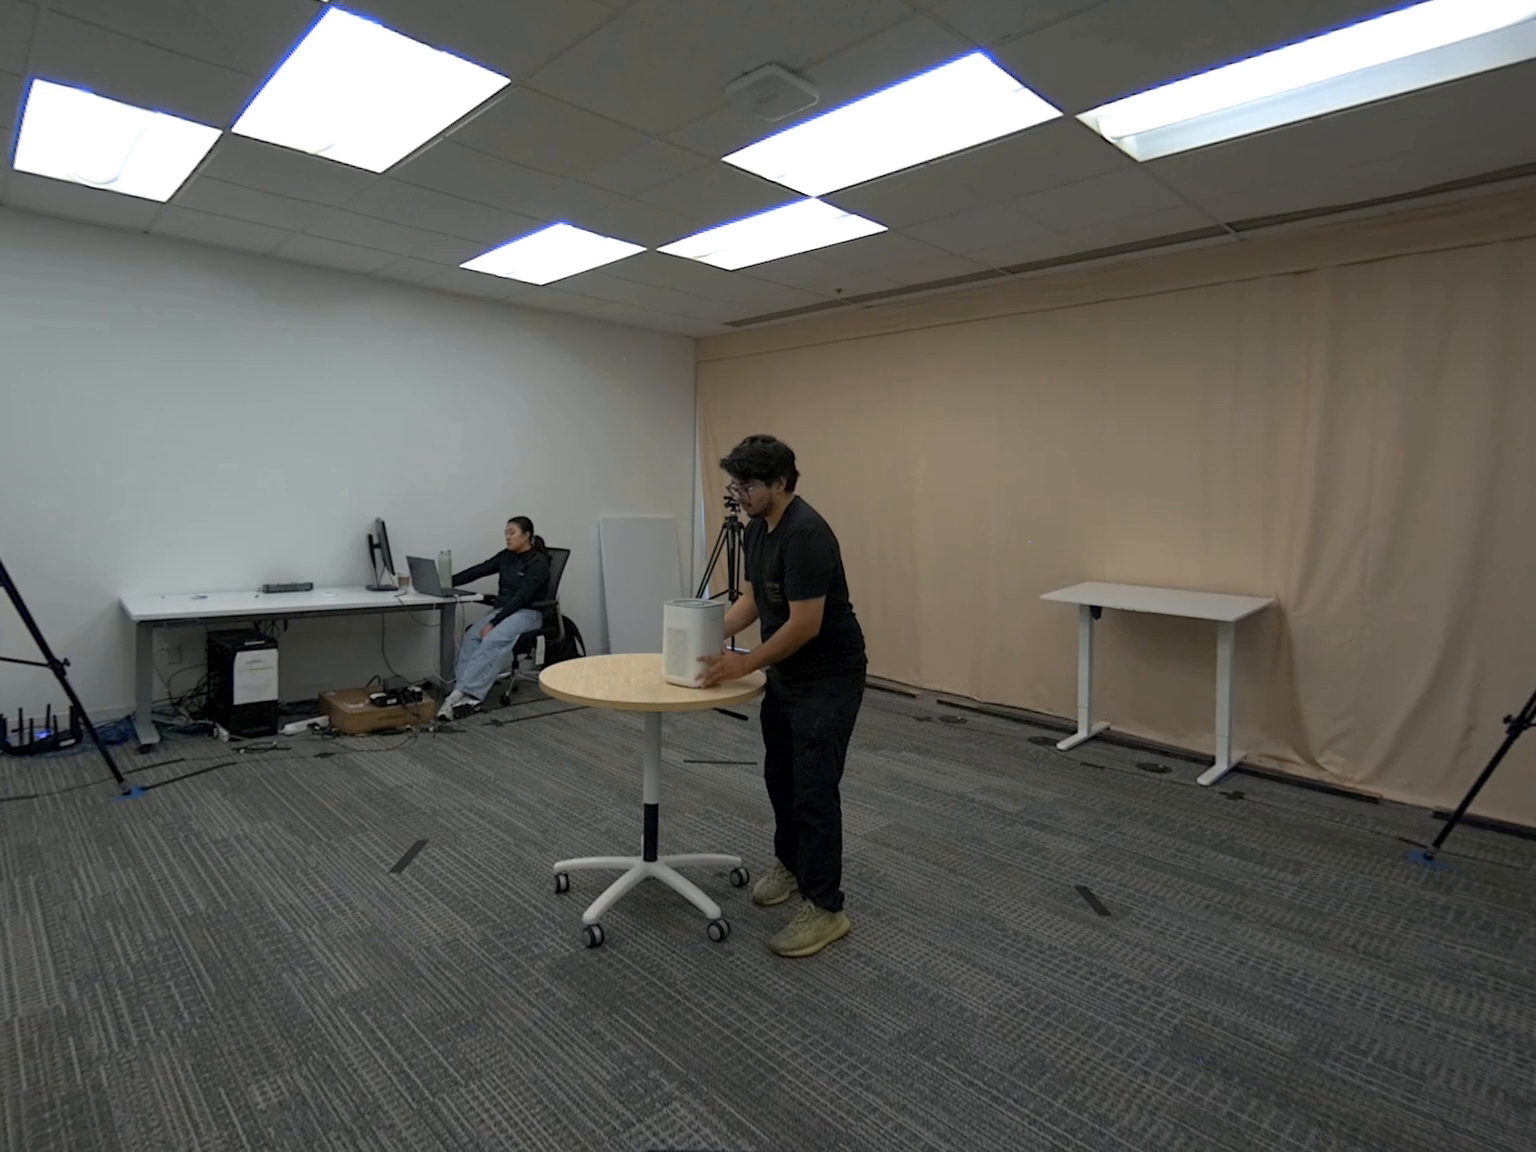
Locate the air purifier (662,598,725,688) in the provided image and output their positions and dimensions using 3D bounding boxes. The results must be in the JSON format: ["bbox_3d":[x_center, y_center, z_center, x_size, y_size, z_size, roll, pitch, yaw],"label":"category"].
[{"bbox_3d":[-0.242,0.216,2.754,0.175,0.264,0.167,4,5,32],"label":"air purifier"}]
